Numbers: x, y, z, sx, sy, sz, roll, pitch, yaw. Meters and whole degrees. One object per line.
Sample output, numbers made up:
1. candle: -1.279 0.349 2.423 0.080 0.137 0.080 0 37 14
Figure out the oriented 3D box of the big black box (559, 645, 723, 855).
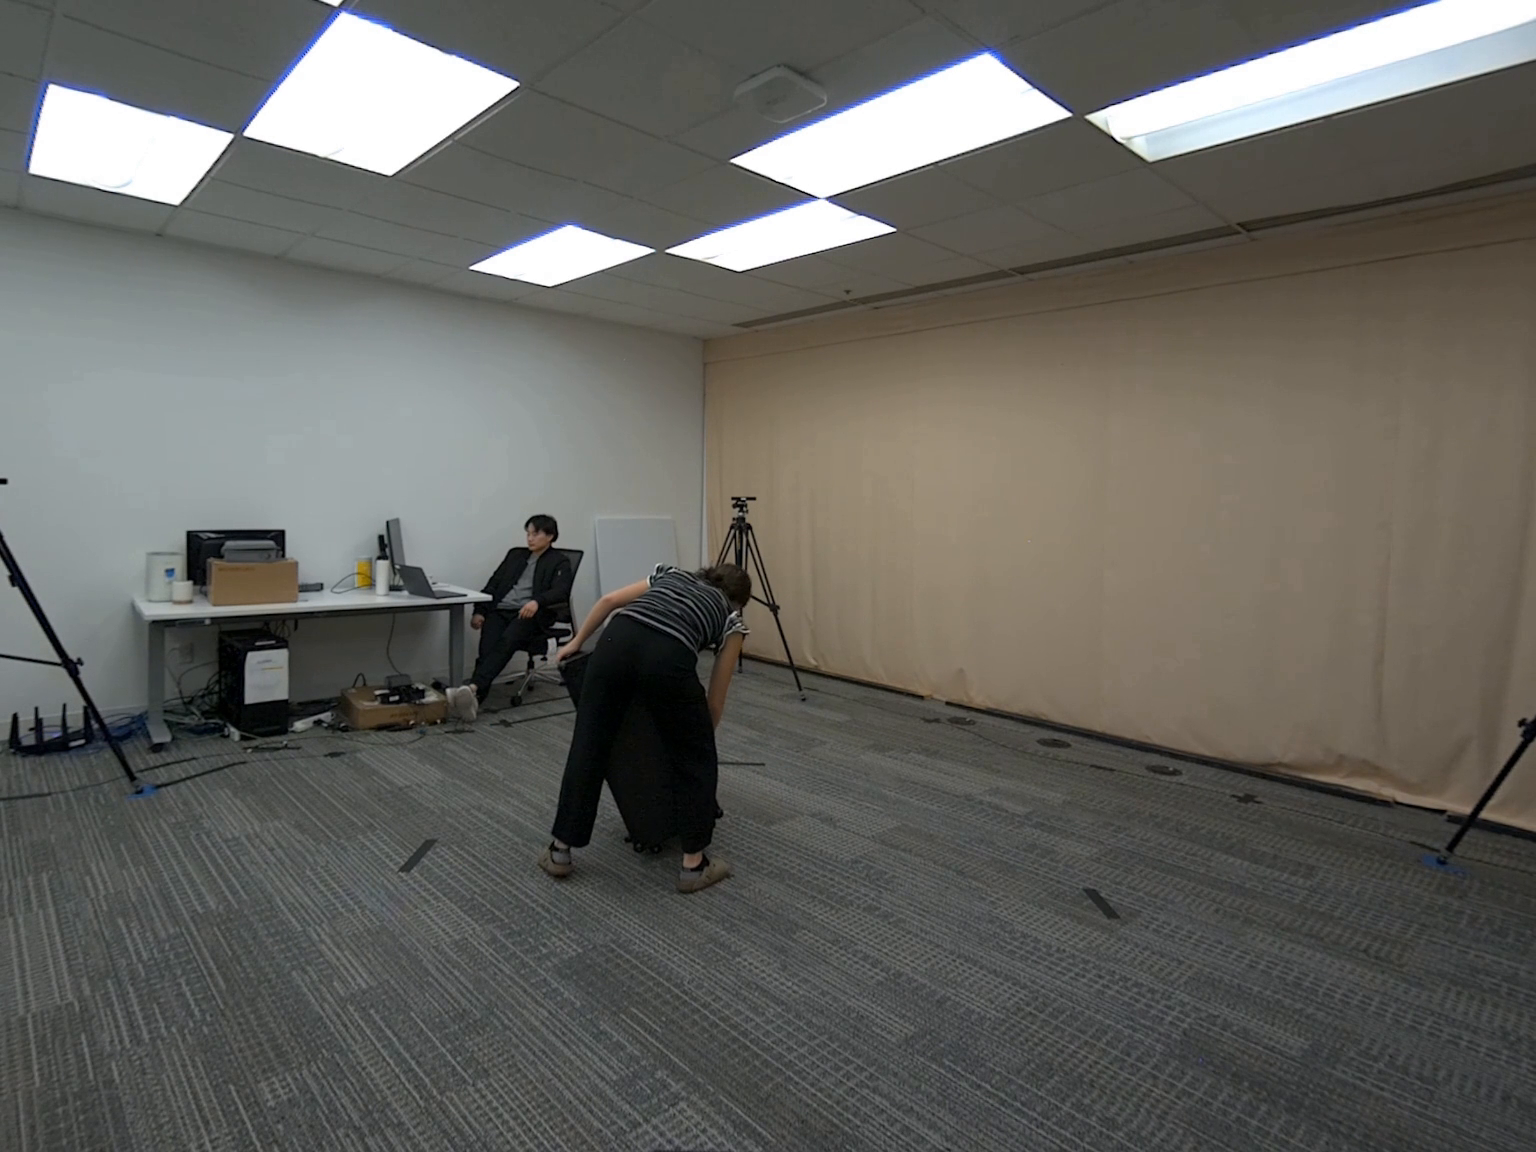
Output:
1. big black box: -0.528 0.639 3.409 0.395 0.856 0.526 -22 6 -5
